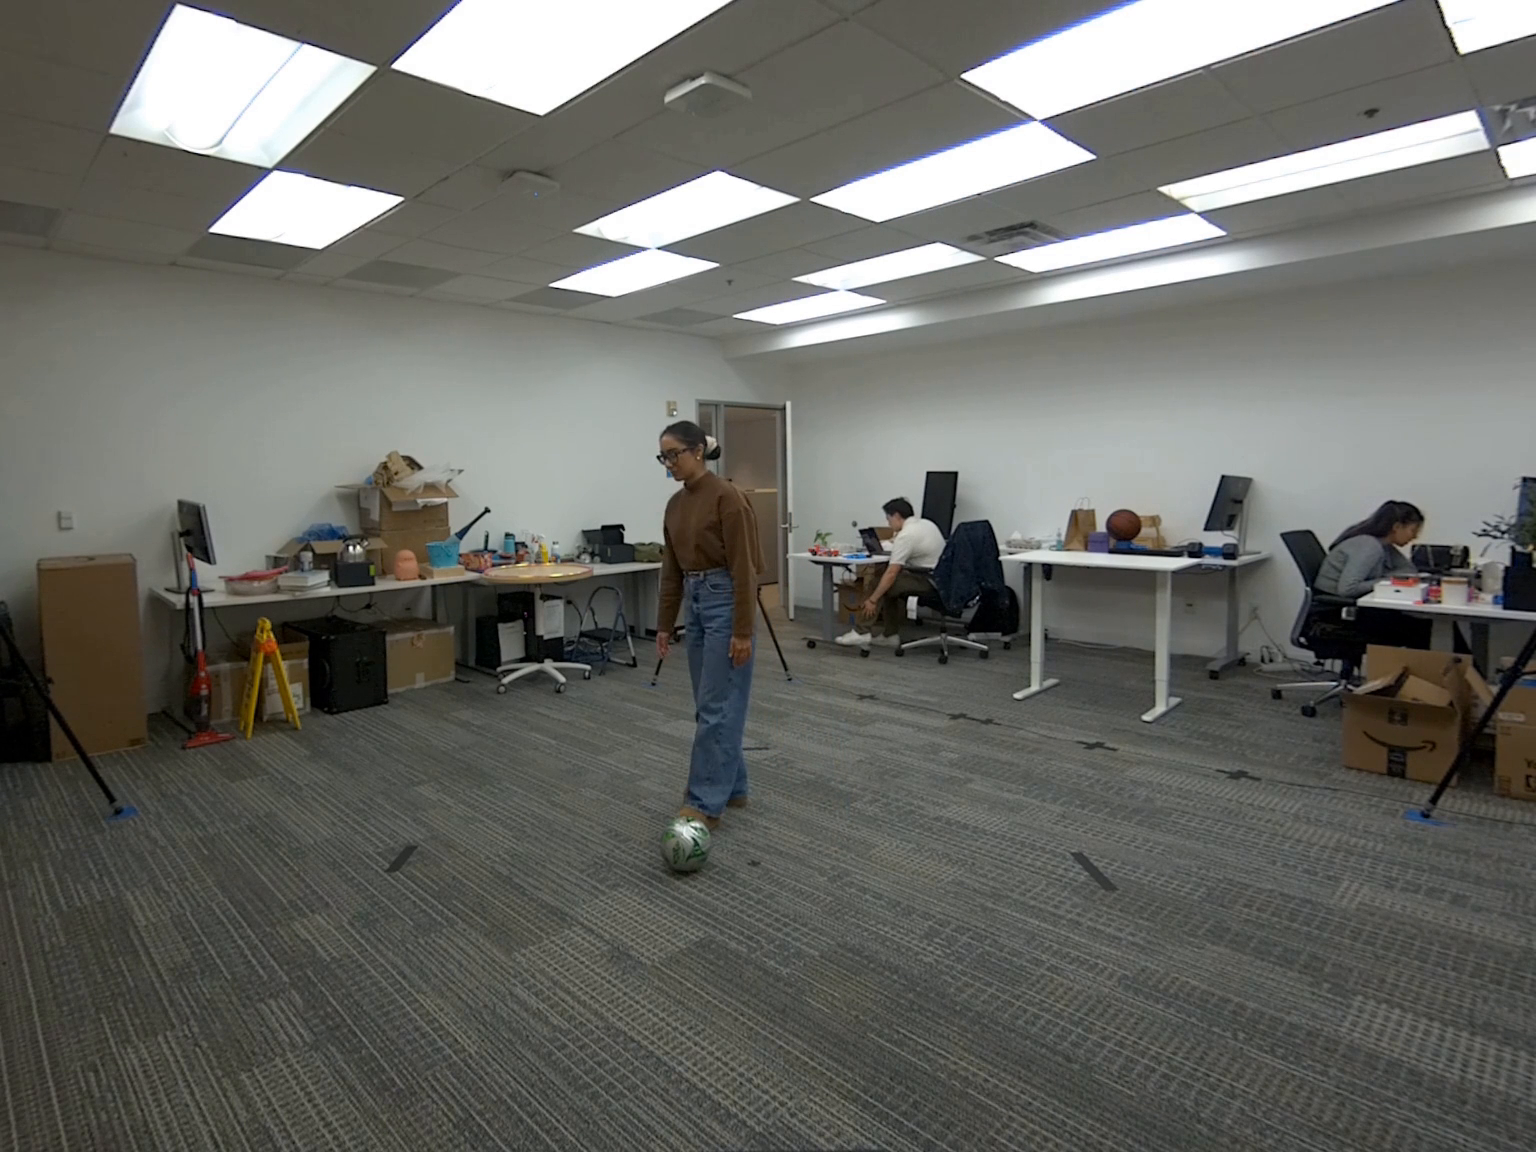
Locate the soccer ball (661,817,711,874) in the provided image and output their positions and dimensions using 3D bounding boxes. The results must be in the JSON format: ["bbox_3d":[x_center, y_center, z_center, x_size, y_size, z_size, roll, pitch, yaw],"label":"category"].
[{"bbox_3d":[-0.294,0.960,3.059,0.187,0.187,0.188,-1,5,-2],"label":"soccer ball"}]
